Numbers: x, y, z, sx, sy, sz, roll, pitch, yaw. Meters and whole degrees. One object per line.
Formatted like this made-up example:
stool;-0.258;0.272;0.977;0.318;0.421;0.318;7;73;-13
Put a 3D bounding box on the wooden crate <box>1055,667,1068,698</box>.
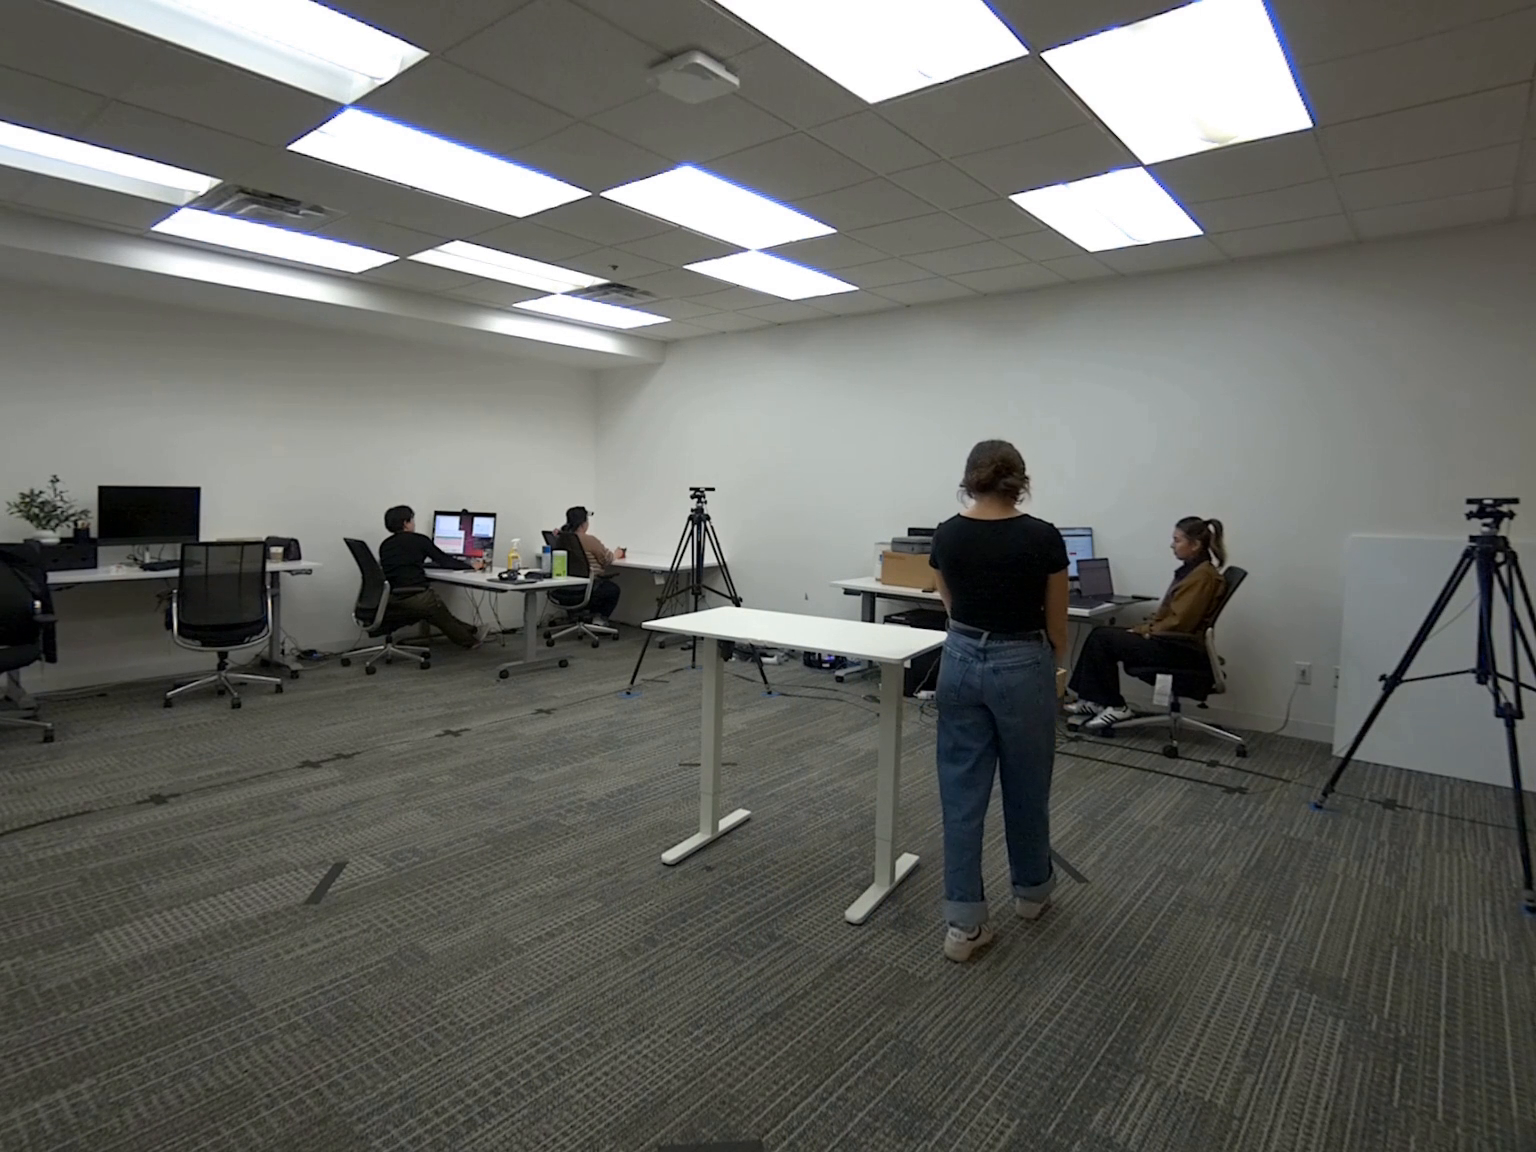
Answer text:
wooden crate;0.795;0.422;2.924;0.314;0.270;0.315;16;17;41
